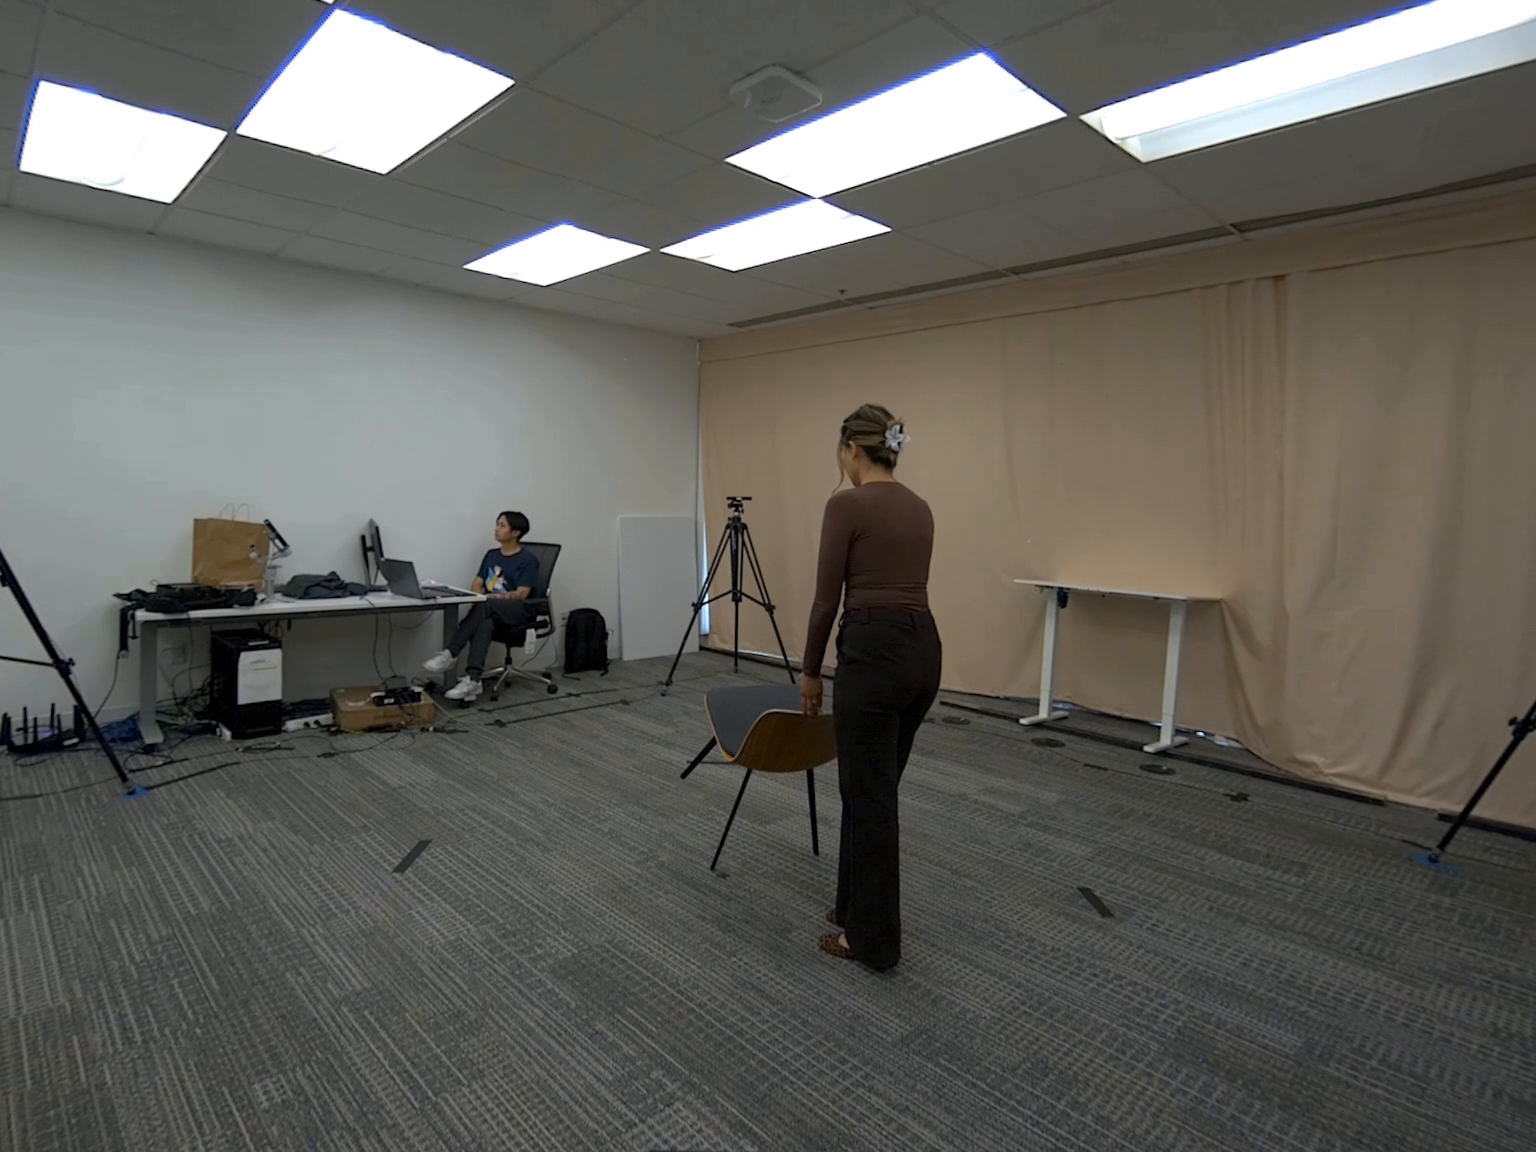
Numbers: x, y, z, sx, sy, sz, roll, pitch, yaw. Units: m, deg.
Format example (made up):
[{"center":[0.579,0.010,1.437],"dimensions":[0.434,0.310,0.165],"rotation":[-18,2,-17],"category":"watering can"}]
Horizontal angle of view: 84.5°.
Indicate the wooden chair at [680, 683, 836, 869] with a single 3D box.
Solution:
[{"center":[0.008,0.616,3.175],"dimensions":[0.470,0.865,0.539],"rotation":[0,39,-23],"category":"wooden chair"}]
